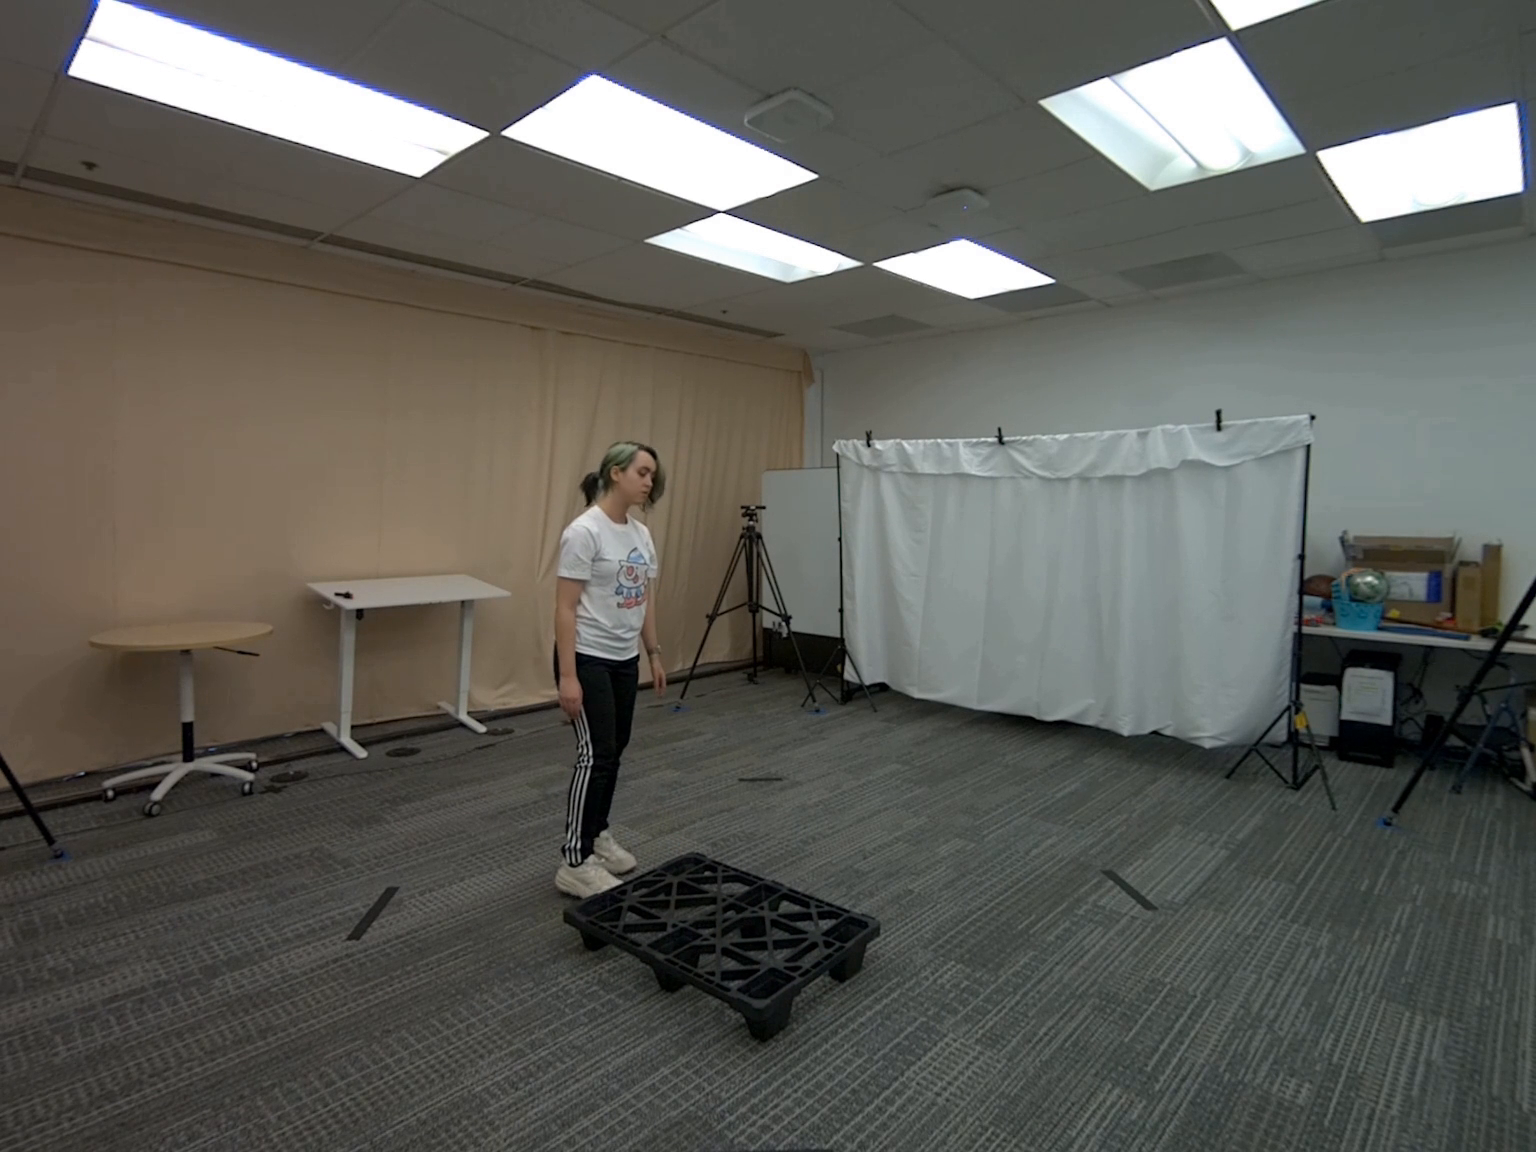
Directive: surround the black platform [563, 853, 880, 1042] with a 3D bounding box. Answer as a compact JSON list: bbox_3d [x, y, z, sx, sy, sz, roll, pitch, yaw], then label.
[{"bbox_3d":[-0.149,1.111,2.594,0.832,0.143,0.587,4,6,40],"label":"black platform"}]
